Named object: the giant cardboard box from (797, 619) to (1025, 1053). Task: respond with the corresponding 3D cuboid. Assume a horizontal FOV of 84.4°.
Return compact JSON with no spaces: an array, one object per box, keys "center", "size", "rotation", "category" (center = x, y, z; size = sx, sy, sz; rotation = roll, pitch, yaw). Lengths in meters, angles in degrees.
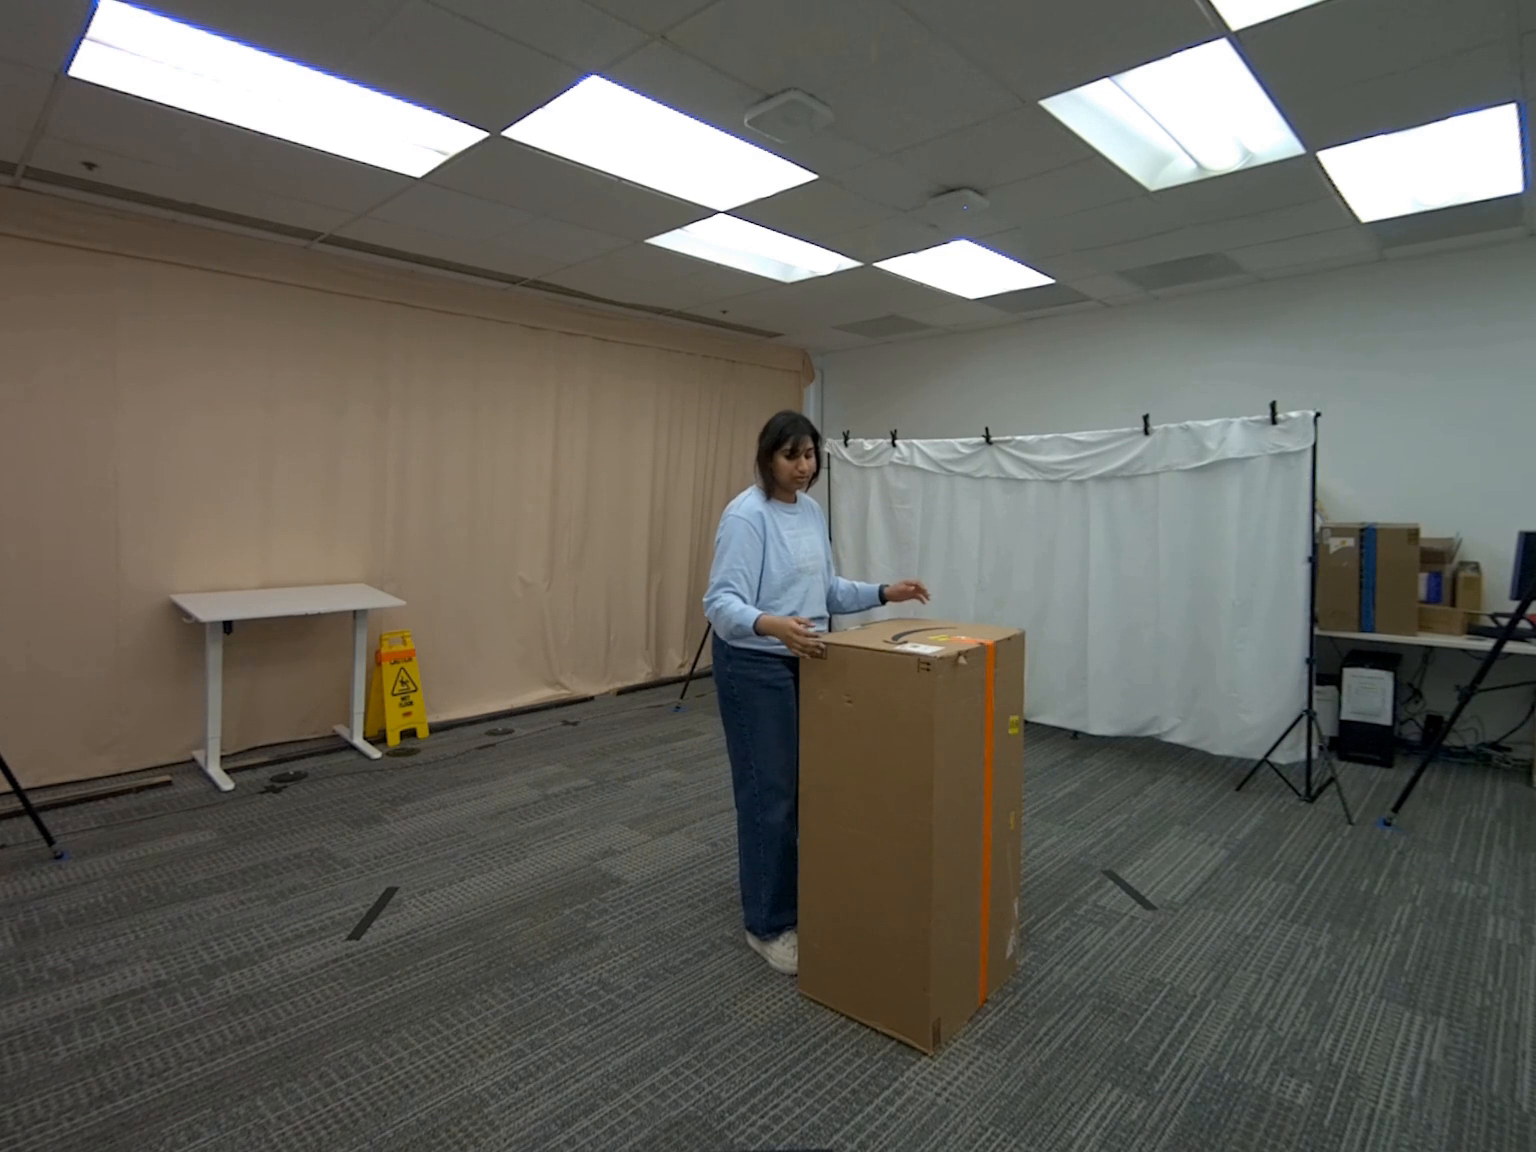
[{"center":[0.436,0.675,2.445],"size":[0.462,1.024,0.566],"rotation":[4,5,41],"category":"giant cardboard box"}]
